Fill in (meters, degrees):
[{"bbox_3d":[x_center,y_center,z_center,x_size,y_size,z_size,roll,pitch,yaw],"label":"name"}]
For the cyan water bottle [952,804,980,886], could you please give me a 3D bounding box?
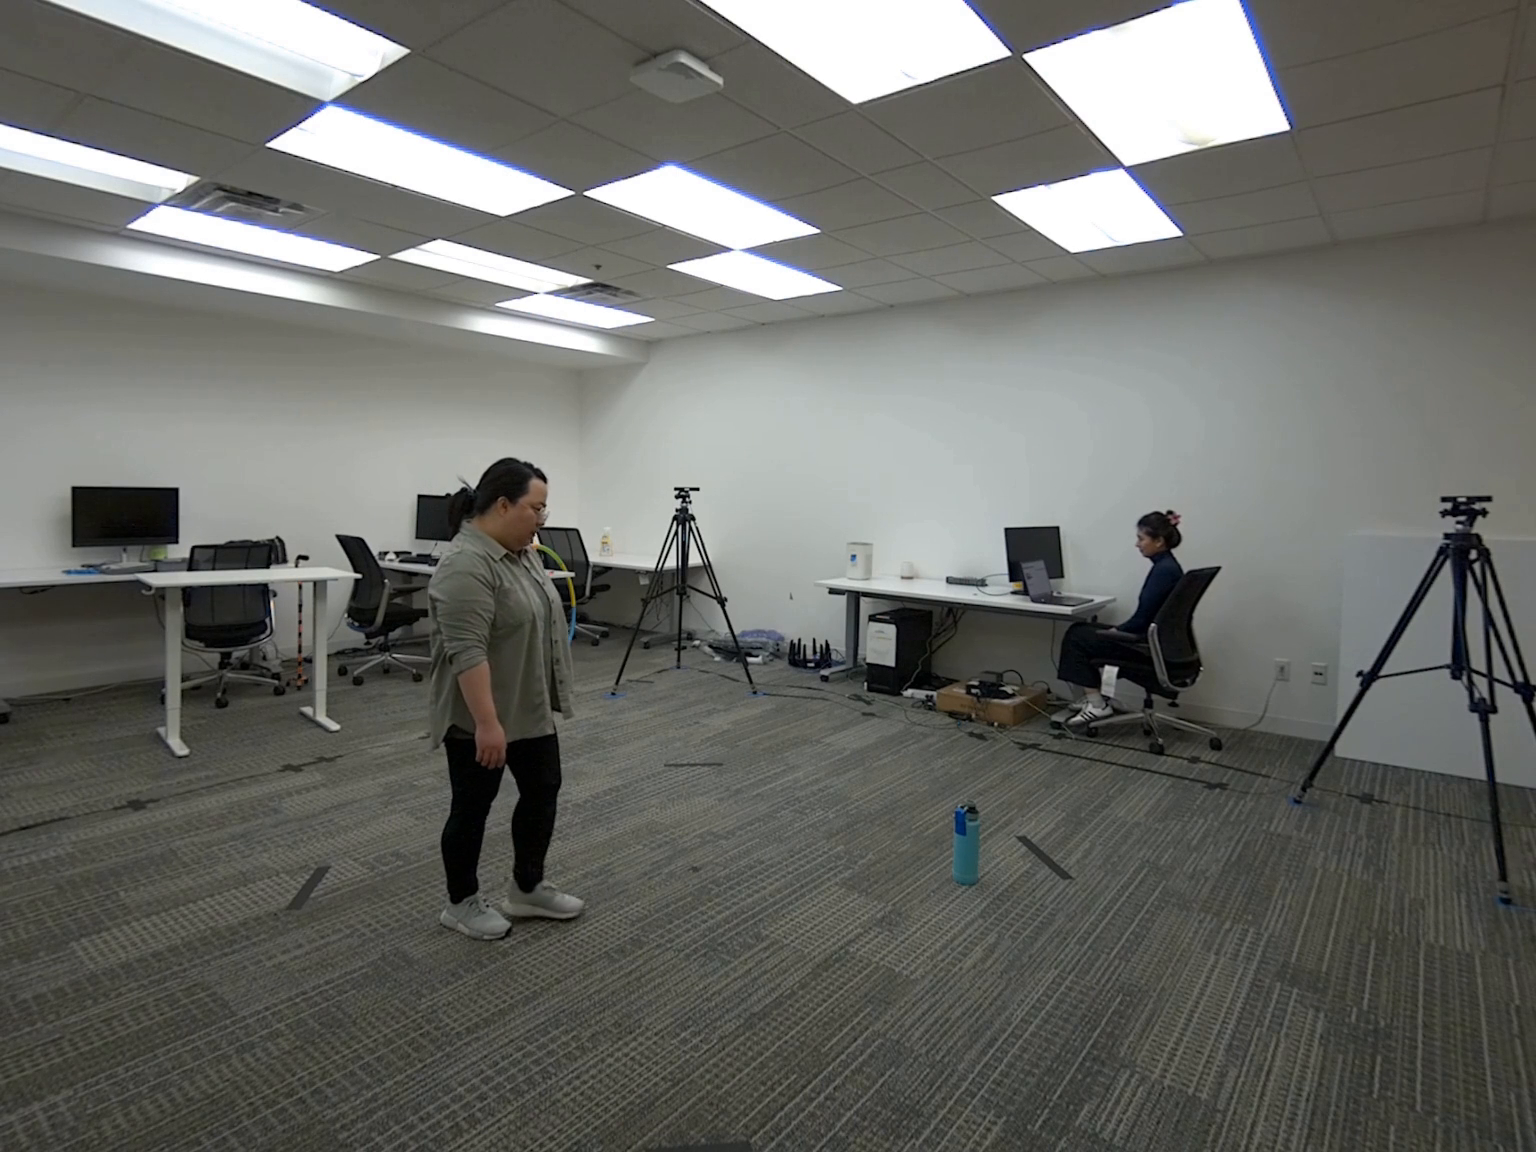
[{"bbox_3d":[0.713,0.952,3.061,0.092,0.282,0.093,1,5,-2],"label":"cyan water bottle"}]
